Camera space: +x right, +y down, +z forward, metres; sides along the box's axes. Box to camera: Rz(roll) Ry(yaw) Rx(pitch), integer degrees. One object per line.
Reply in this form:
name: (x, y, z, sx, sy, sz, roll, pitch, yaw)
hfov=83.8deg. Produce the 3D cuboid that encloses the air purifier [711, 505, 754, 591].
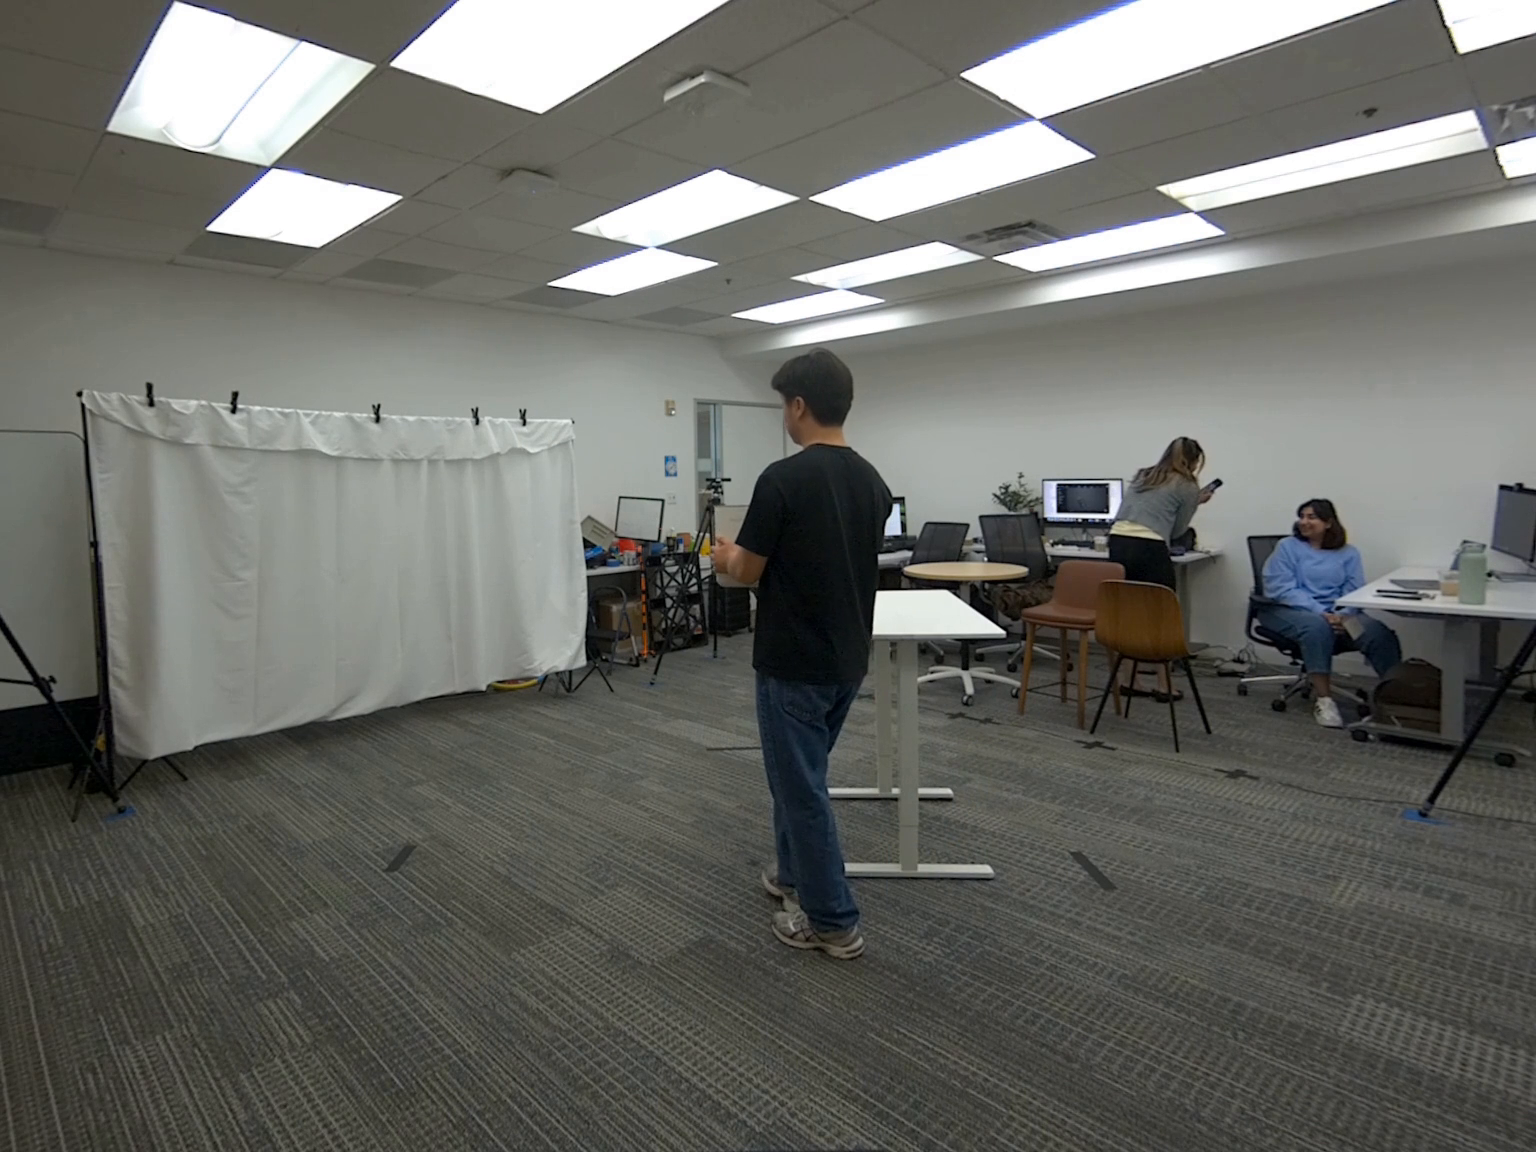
air purifier: (-0.078, -0.098, 2.806, 0.173, 0.265, 0.170, -2, 3, 10)
